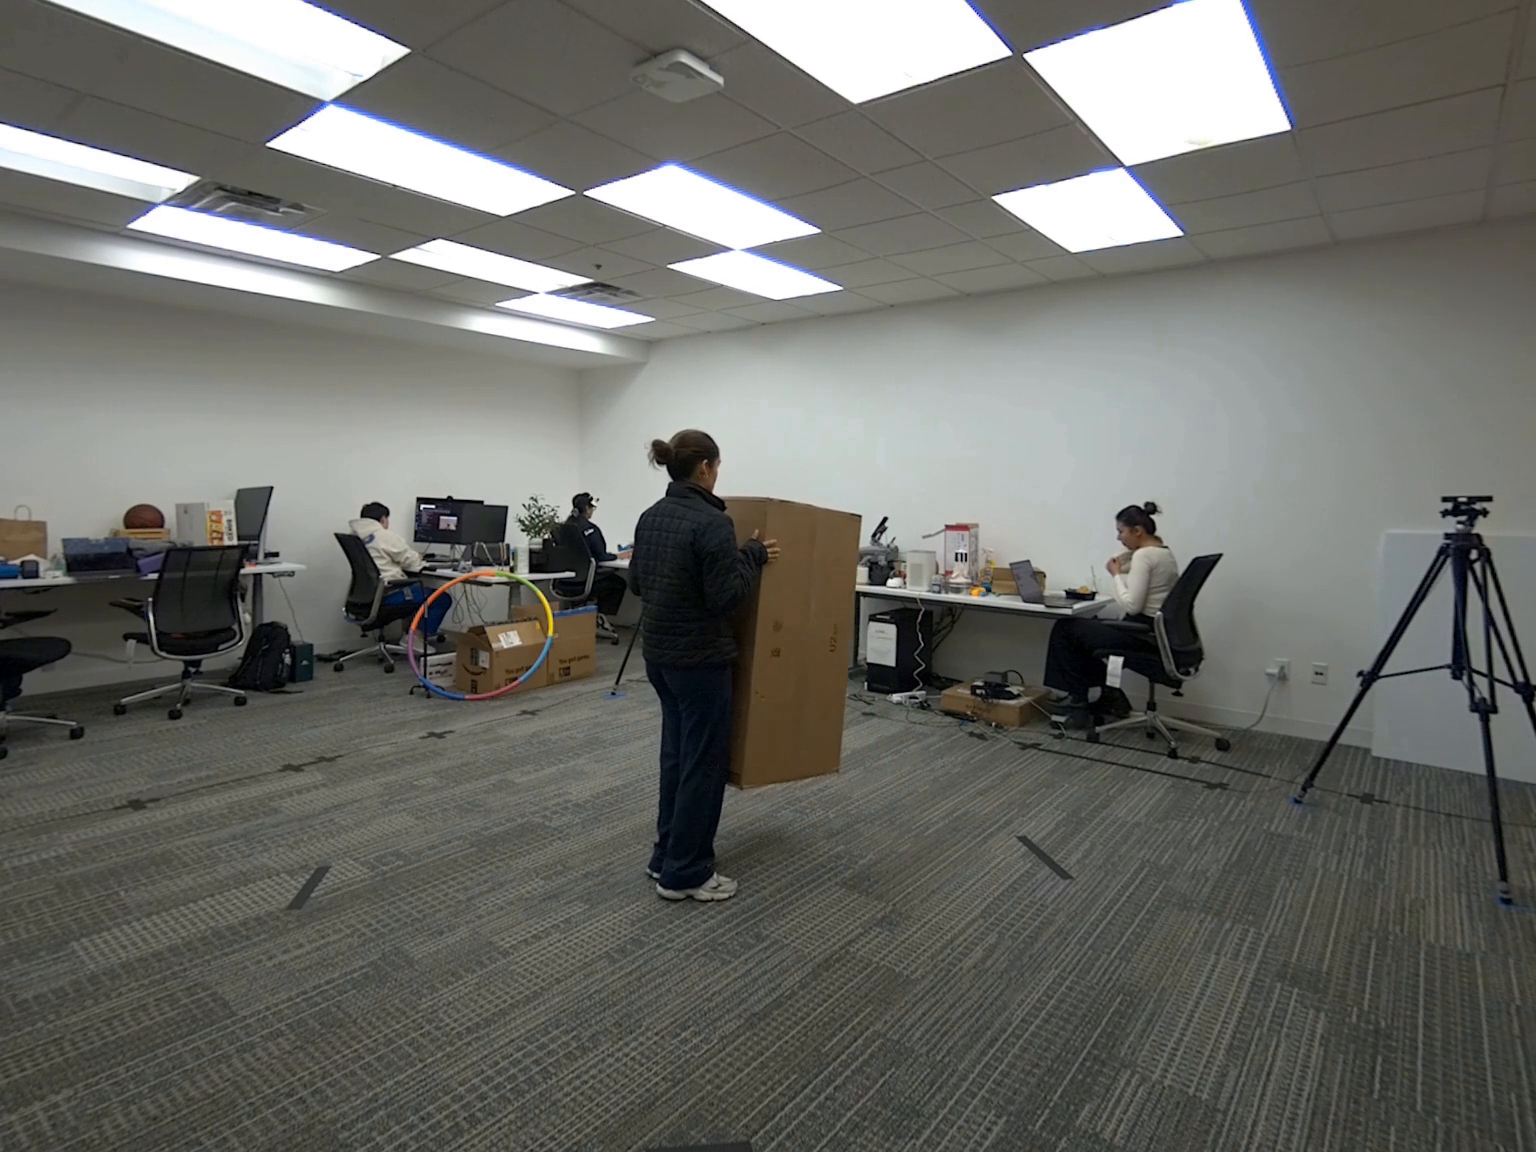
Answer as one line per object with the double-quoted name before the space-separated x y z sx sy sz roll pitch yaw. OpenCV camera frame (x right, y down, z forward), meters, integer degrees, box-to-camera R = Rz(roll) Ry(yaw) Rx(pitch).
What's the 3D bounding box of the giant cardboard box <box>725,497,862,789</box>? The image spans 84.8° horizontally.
"giant cardboard box" 0.008 0.232 3.317 0.441 1.027 0.557 5 -2 44
